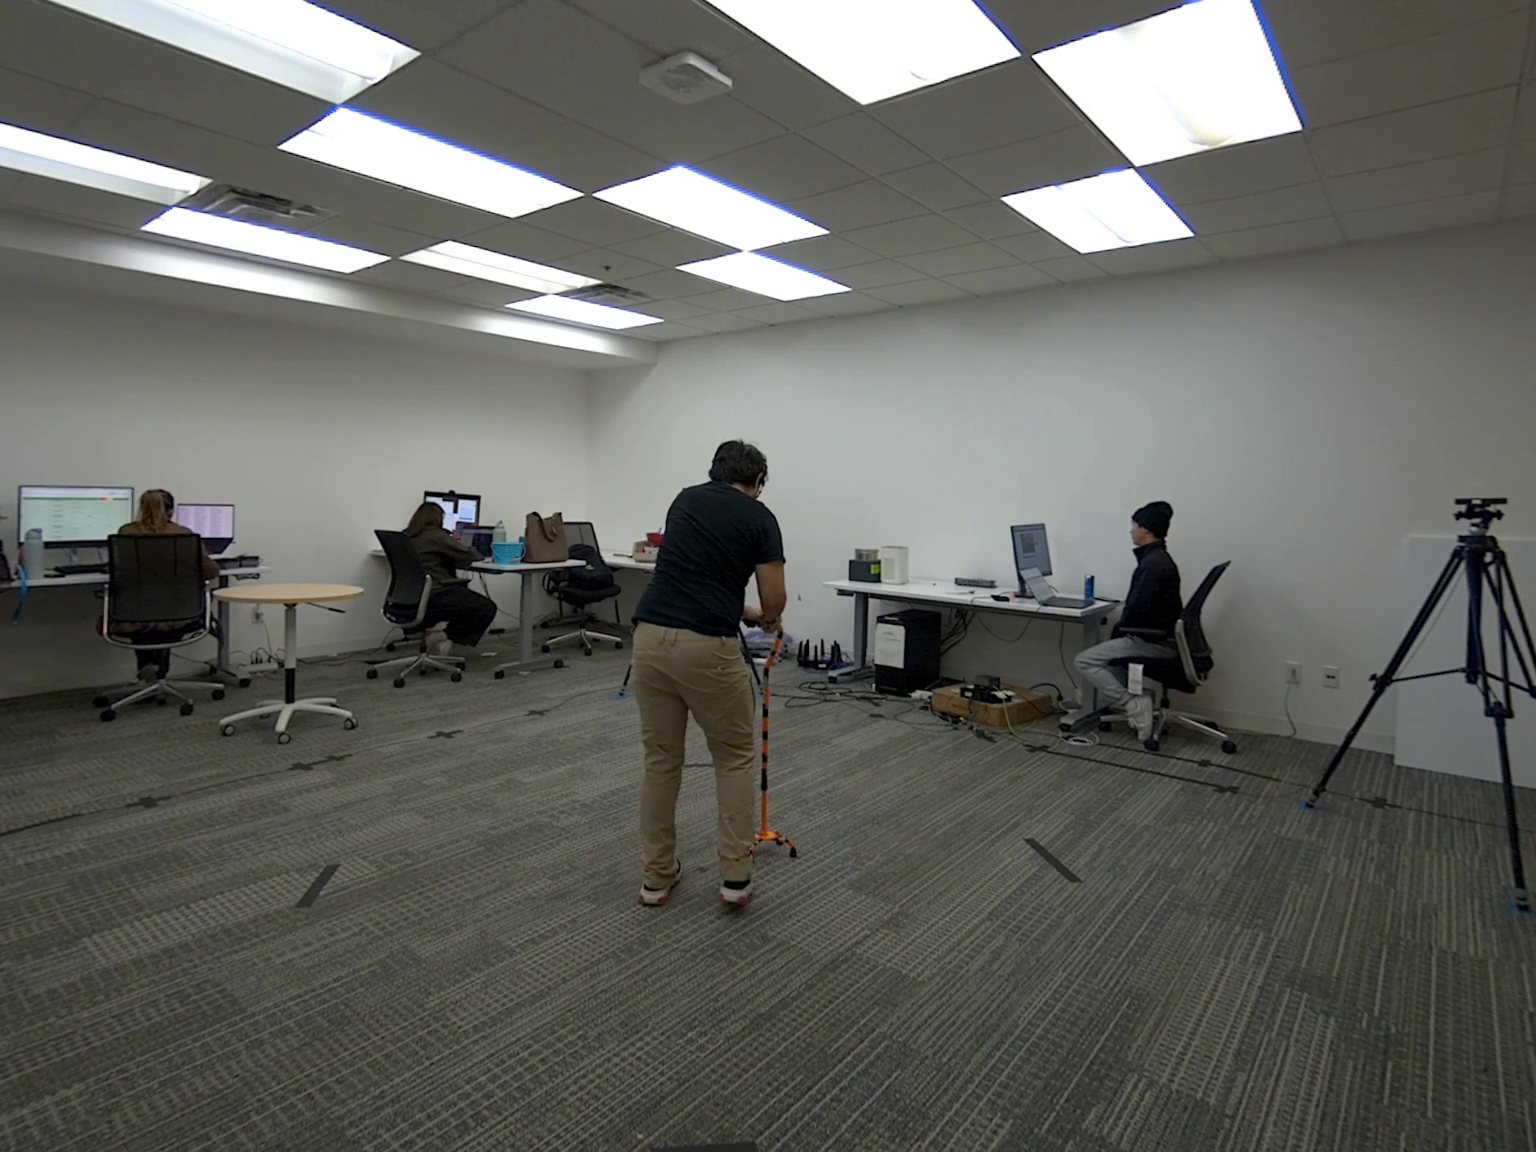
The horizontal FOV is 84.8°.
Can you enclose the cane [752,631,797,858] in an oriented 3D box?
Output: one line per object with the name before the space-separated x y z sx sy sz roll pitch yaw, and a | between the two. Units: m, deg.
cane | -0.018 0.611 3.252 0.202 0.906 0.155 -1 2 -23
